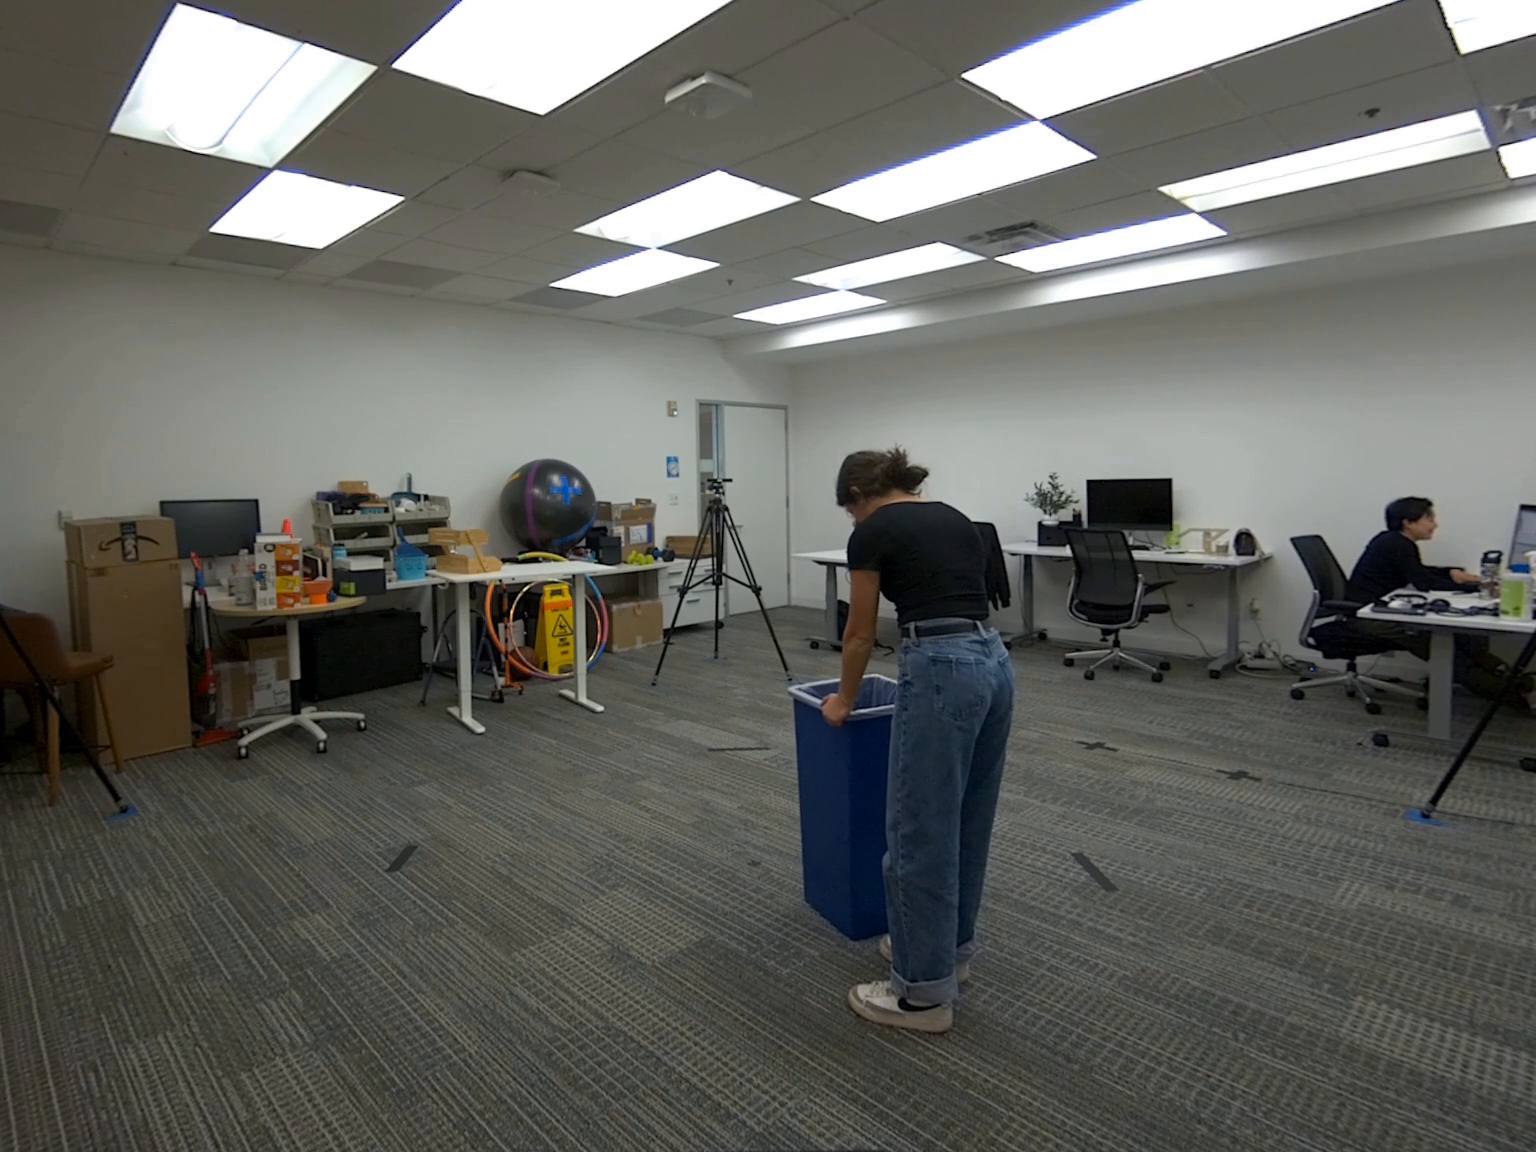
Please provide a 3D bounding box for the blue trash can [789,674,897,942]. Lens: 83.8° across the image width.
[{"bbox_3d":[0.309,0.723,2.732,0.366,0.711,0.388,-3,5,-26],"label":"blue trash can"}]
